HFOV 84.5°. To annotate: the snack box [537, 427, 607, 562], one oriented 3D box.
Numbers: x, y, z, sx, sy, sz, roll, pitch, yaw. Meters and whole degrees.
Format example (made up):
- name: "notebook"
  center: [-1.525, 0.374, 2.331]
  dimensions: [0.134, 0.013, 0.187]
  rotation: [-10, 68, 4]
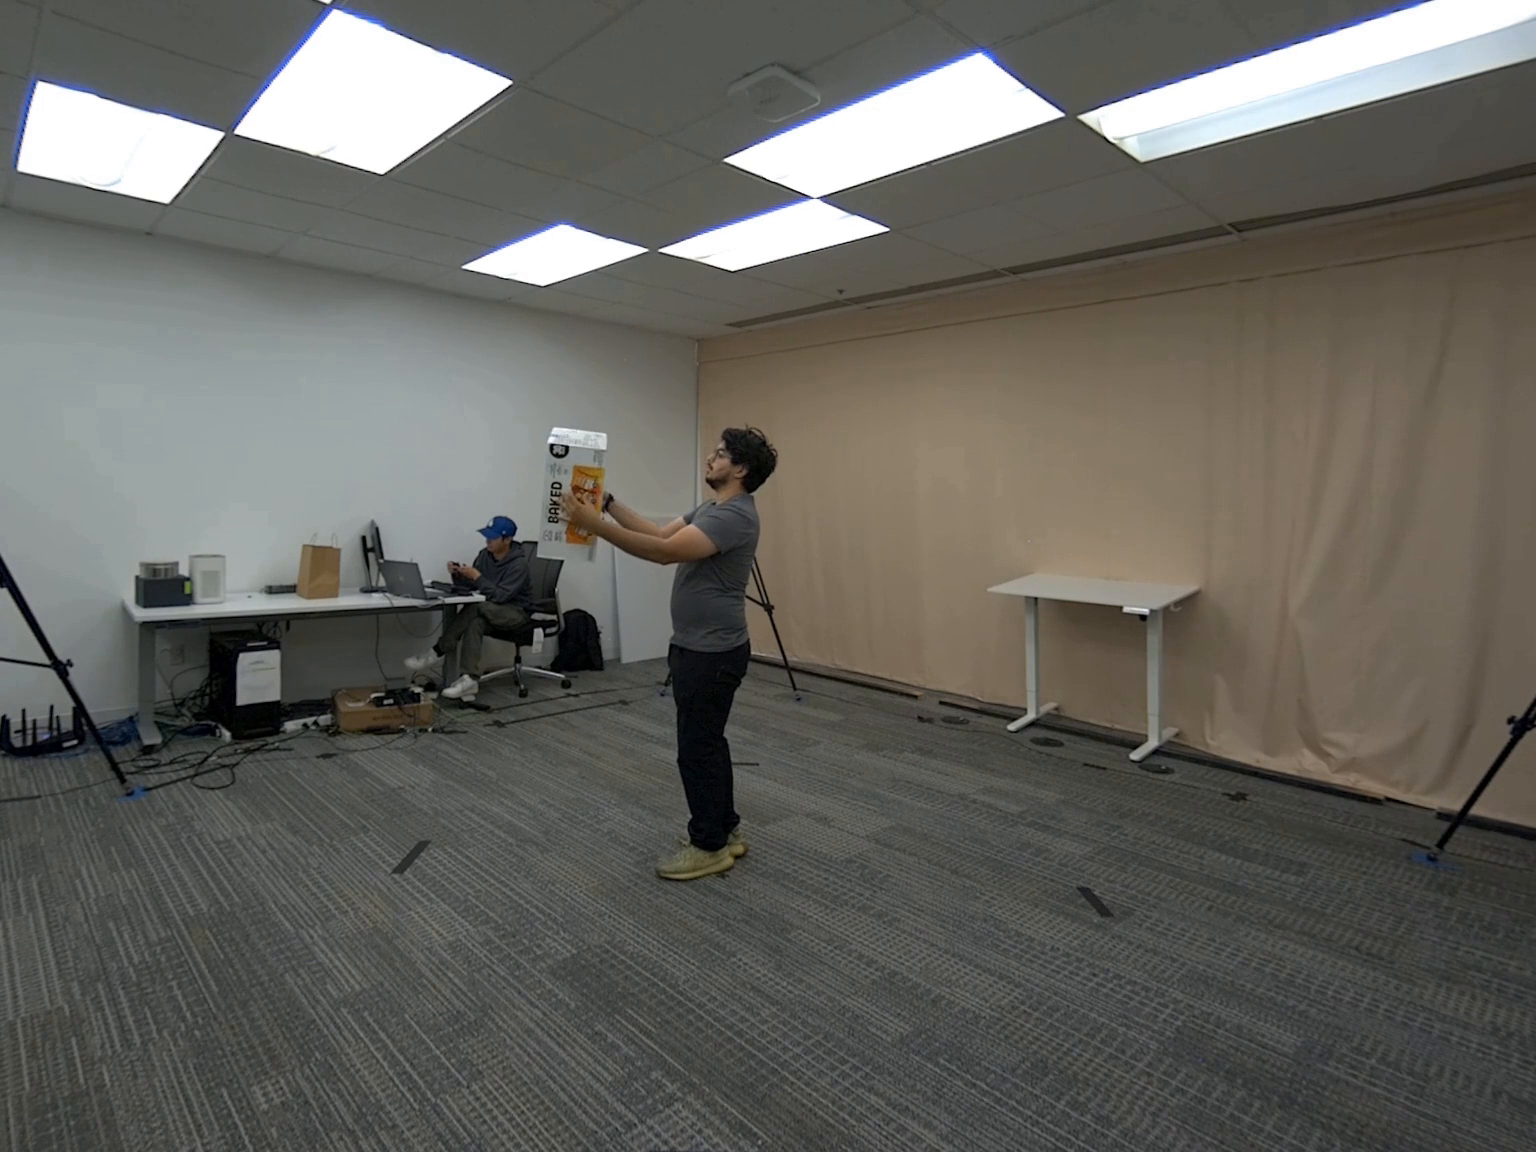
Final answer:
- name: "snack box"
  center: [-0.712, -0.301, 3.041]
  dimensions: [0.204, 0.401, 0.346]
  rotation: [6, 16, -11]
